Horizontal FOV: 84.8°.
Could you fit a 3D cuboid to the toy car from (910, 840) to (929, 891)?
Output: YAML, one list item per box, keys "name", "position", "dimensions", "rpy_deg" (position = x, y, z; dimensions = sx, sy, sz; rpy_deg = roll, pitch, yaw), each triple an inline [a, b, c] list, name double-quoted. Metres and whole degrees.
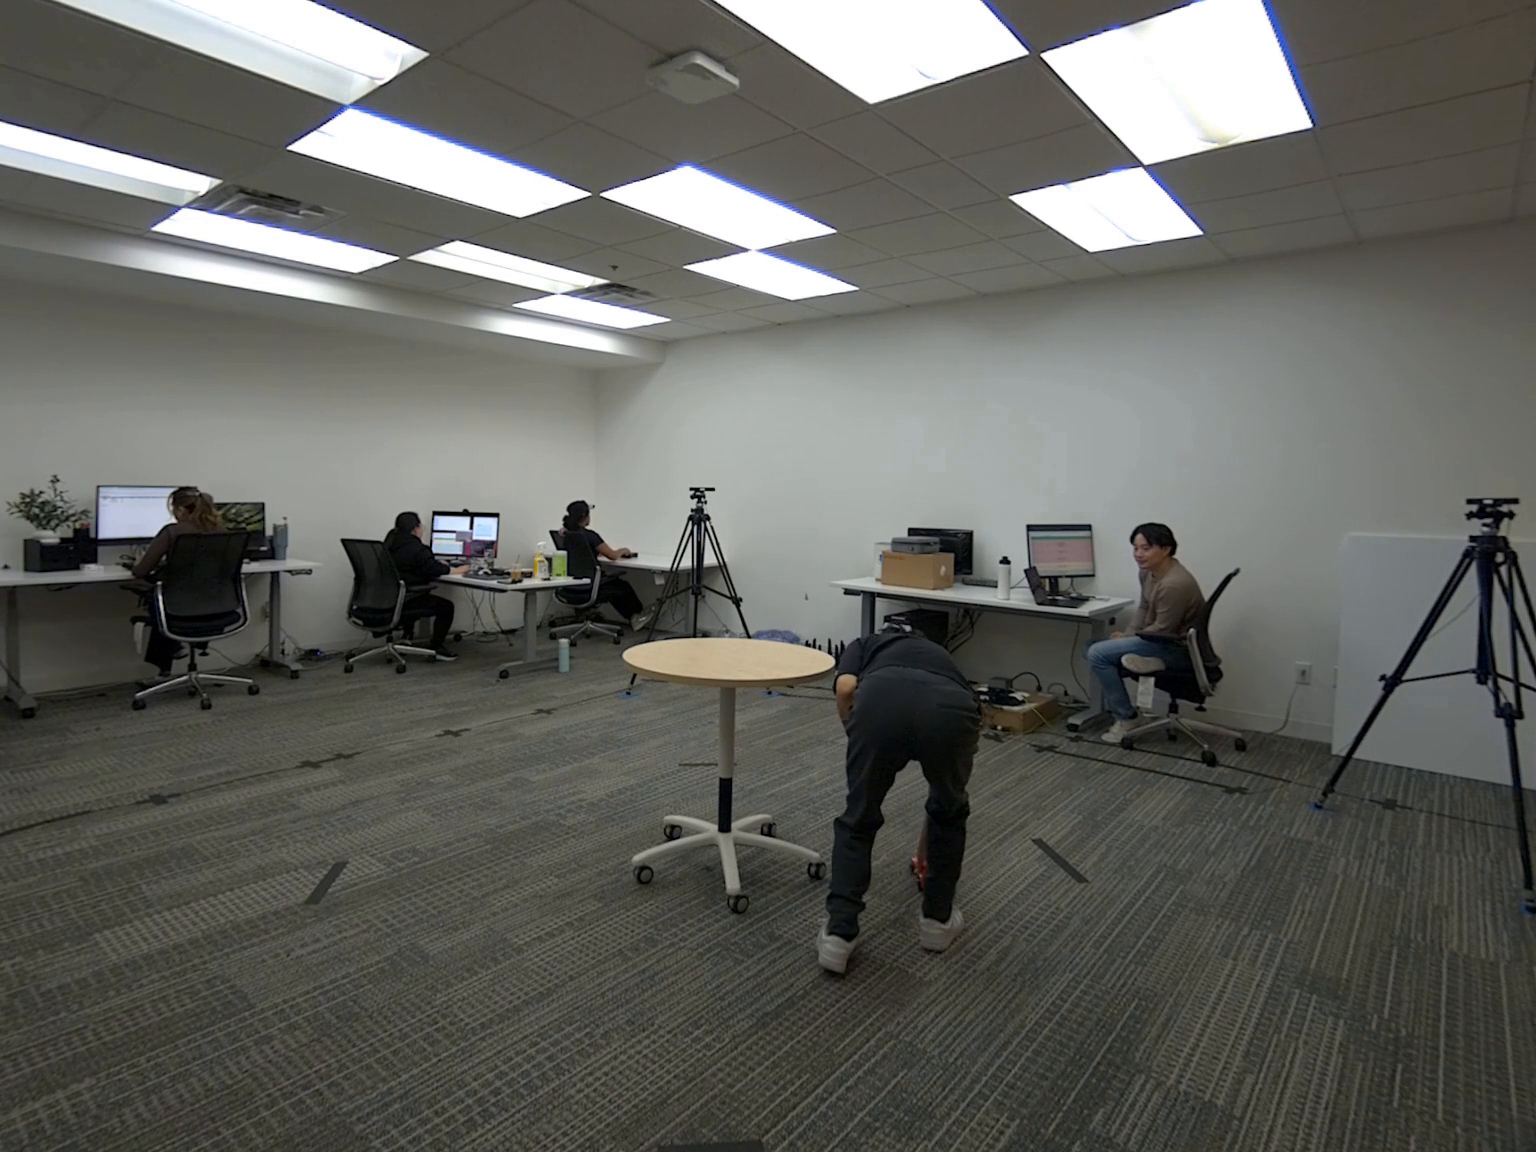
- name: "toy car"
  position: [0.577, 1.059, 3.034]
  dimensions: [0.130, 0.084, 0.252]
  rpy_deg: [1, -6, 1]
